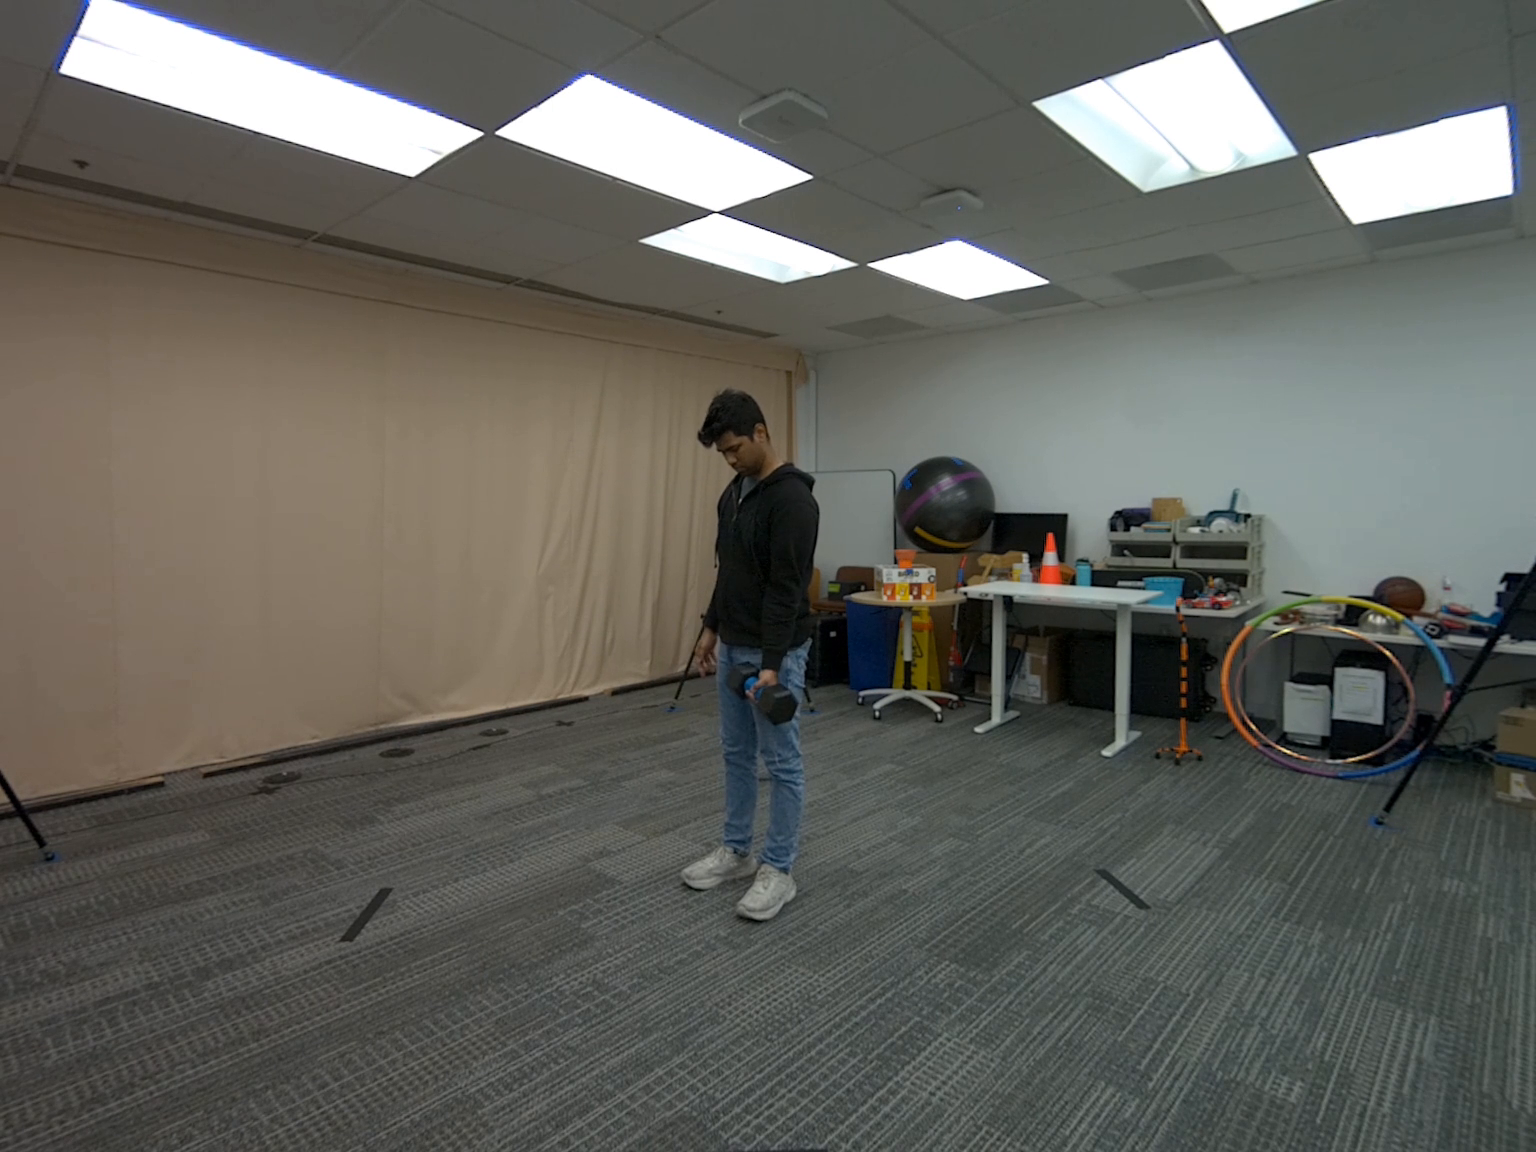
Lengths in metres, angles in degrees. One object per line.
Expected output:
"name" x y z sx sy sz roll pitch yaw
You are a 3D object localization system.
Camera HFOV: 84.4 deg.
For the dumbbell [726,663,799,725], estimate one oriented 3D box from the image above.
"dumbbell" -0.032 0.359 2.710 0.120 0.107 0.303 -12 18 -26
